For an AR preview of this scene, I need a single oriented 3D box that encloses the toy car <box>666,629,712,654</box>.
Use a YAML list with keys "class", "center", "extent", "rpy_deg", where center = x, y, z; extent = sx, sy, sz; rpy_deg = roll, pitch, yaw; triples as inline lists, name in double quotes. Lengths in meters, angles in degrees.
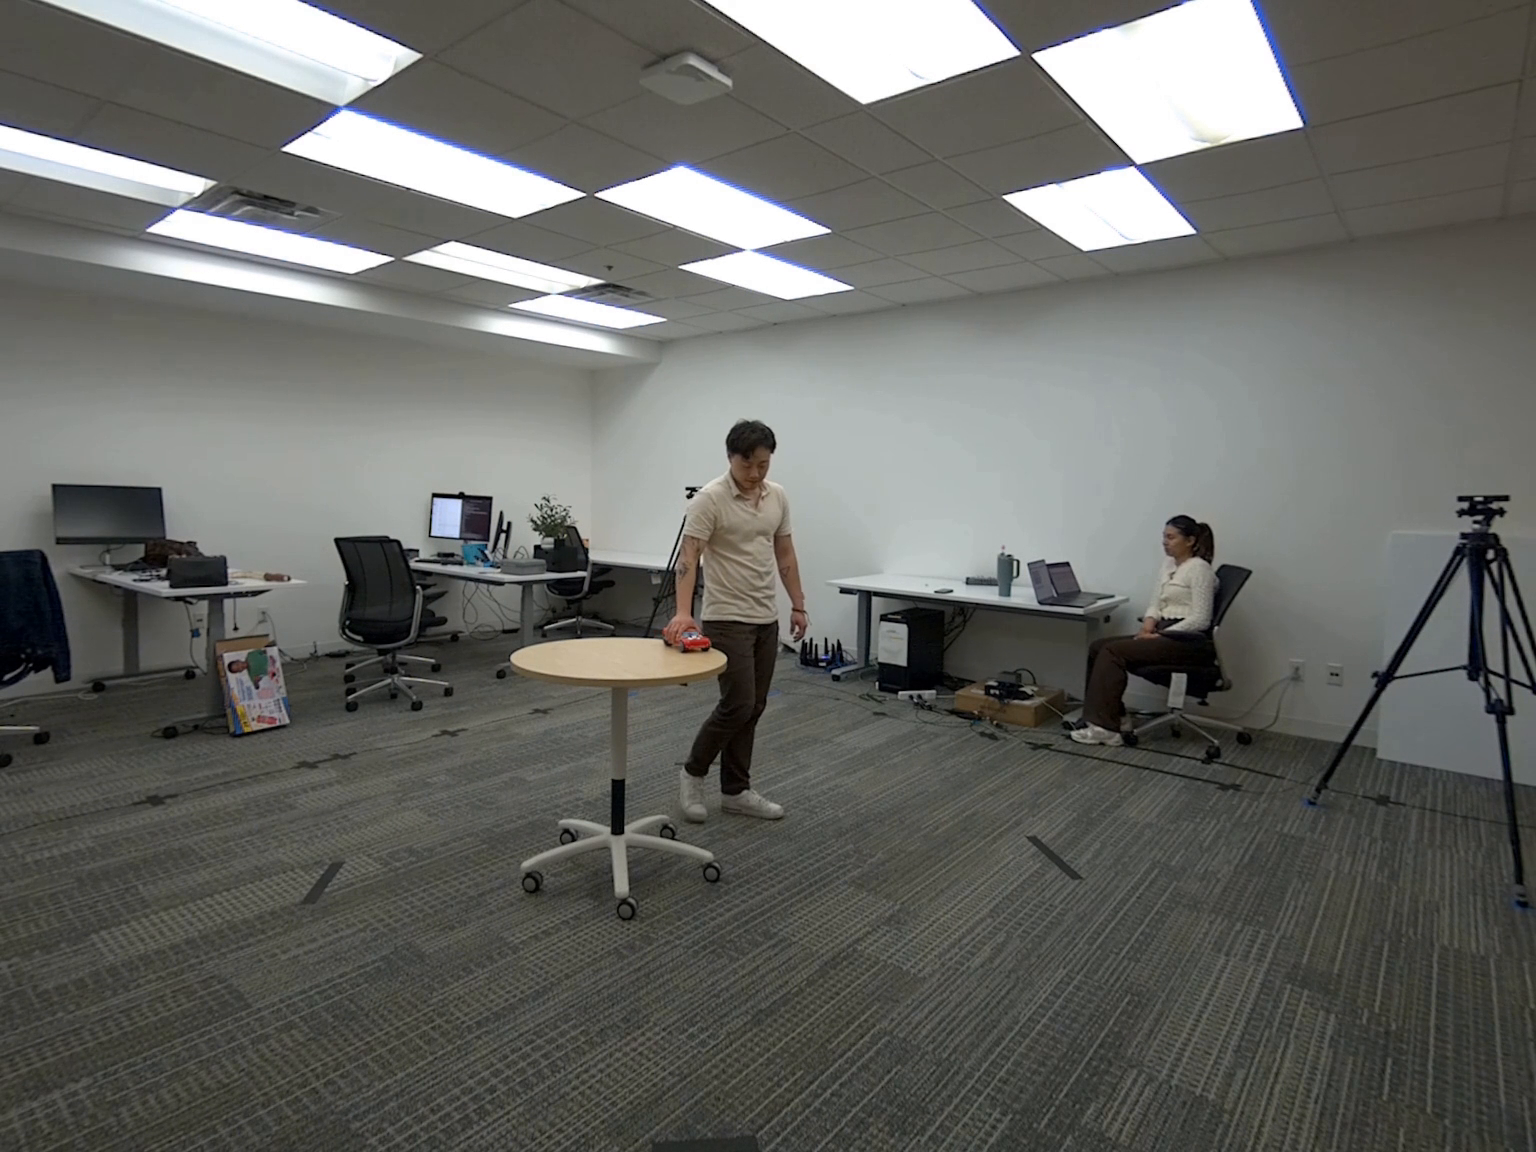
- class: "toy car"
  center: [-0.330, 0.241, 3.241]
  extent: [0.127, 0.082, 0.264]
  rpy_deg: [-3, 18, -27]
